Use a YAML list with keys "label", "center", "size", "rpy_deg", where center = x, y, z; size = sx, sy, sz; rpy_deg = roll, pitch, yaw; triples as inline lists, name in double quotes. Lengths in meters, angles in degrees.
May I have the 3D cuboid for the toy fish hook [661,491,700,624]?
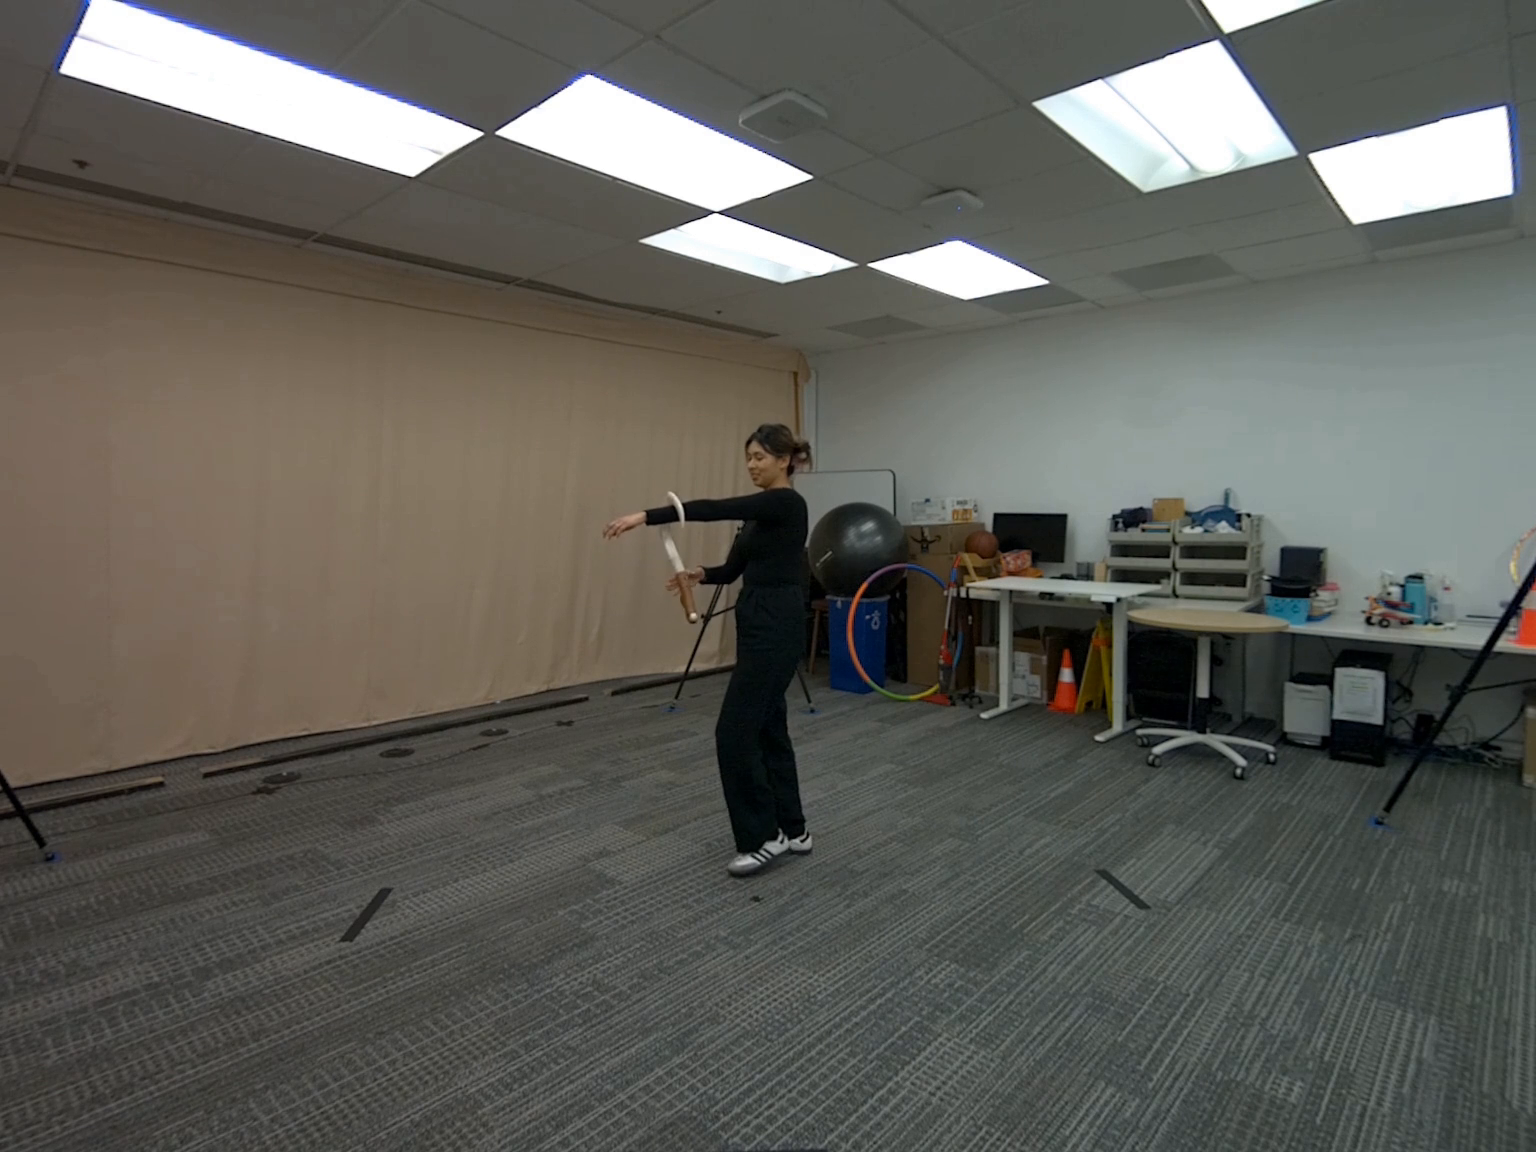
- label: "toy fish hook"
  center: [-0.318, -0.072, 3.023]
  size: [0.047, 0.519, 0.223]
  rpy_deg: [-5, -32, -20]
